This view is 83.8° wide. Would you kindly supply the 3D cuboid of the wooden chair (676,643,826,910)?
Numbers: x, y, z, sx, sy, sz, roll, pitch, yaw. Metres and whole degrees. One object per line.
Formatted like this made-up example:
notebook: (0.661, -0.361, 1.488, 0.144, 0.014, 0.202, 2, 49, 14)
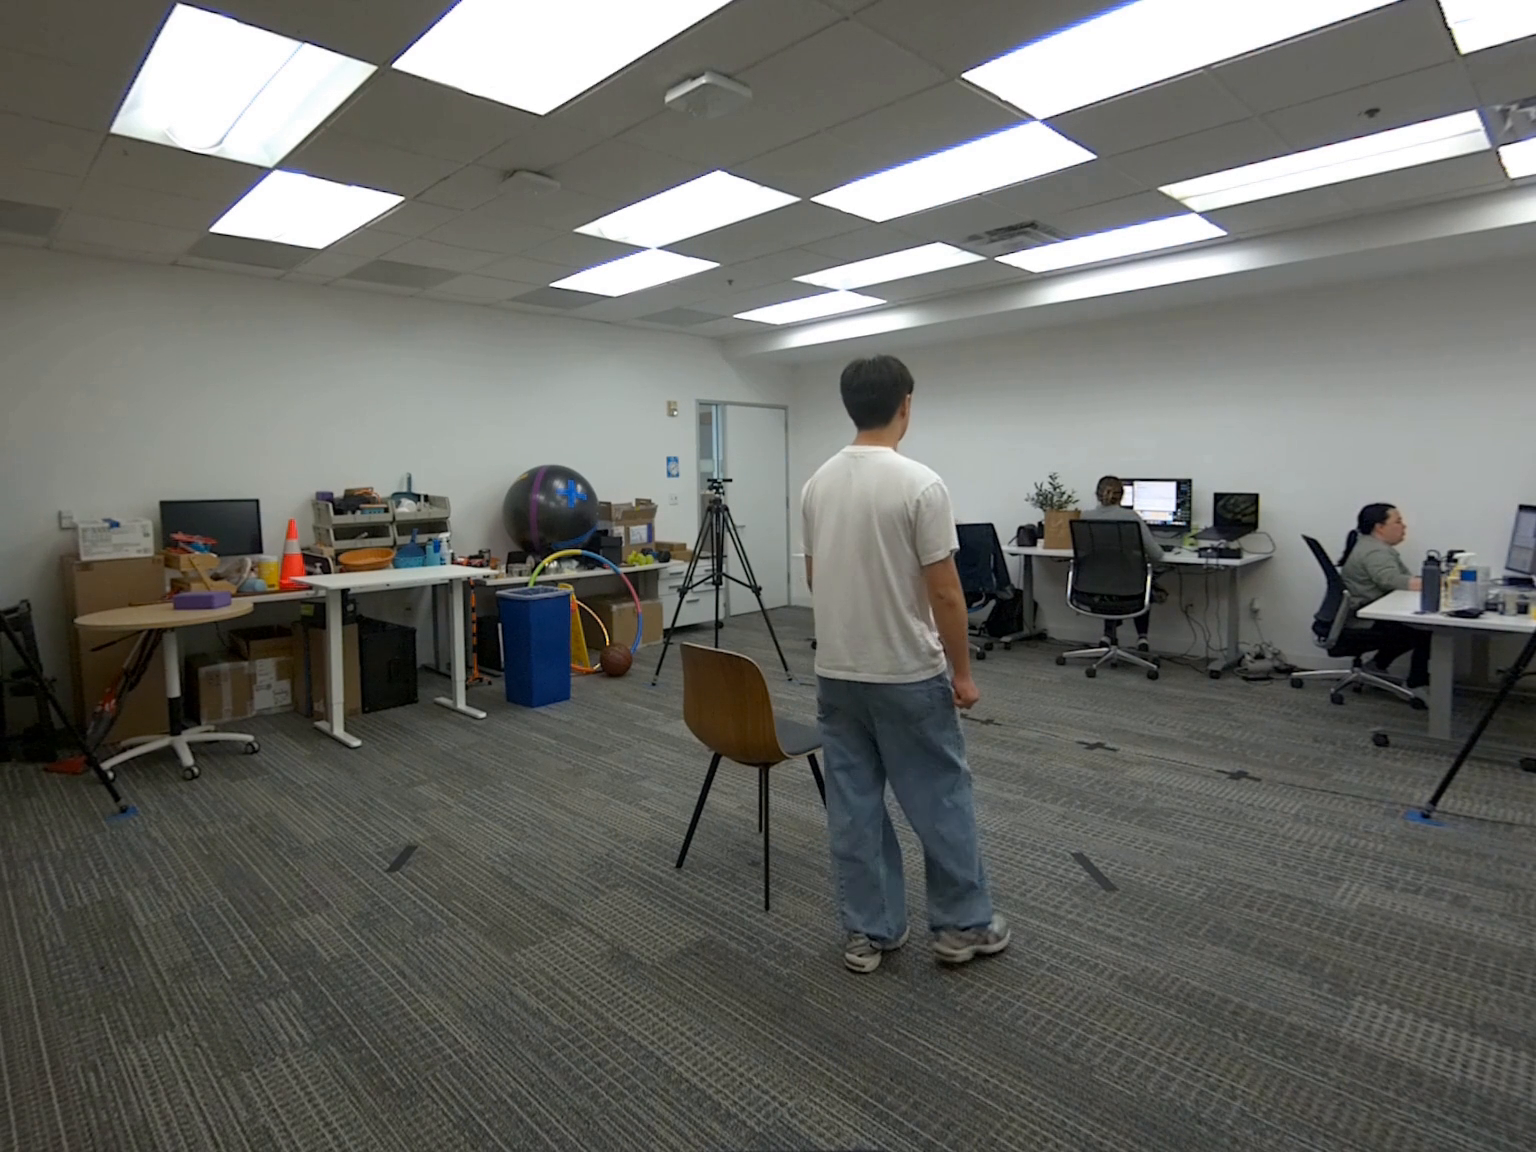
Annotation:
wooden chair: (-0.015, 0.624, 3.049, 0.493, 0.871, 0.511, 4, 10, 44)
